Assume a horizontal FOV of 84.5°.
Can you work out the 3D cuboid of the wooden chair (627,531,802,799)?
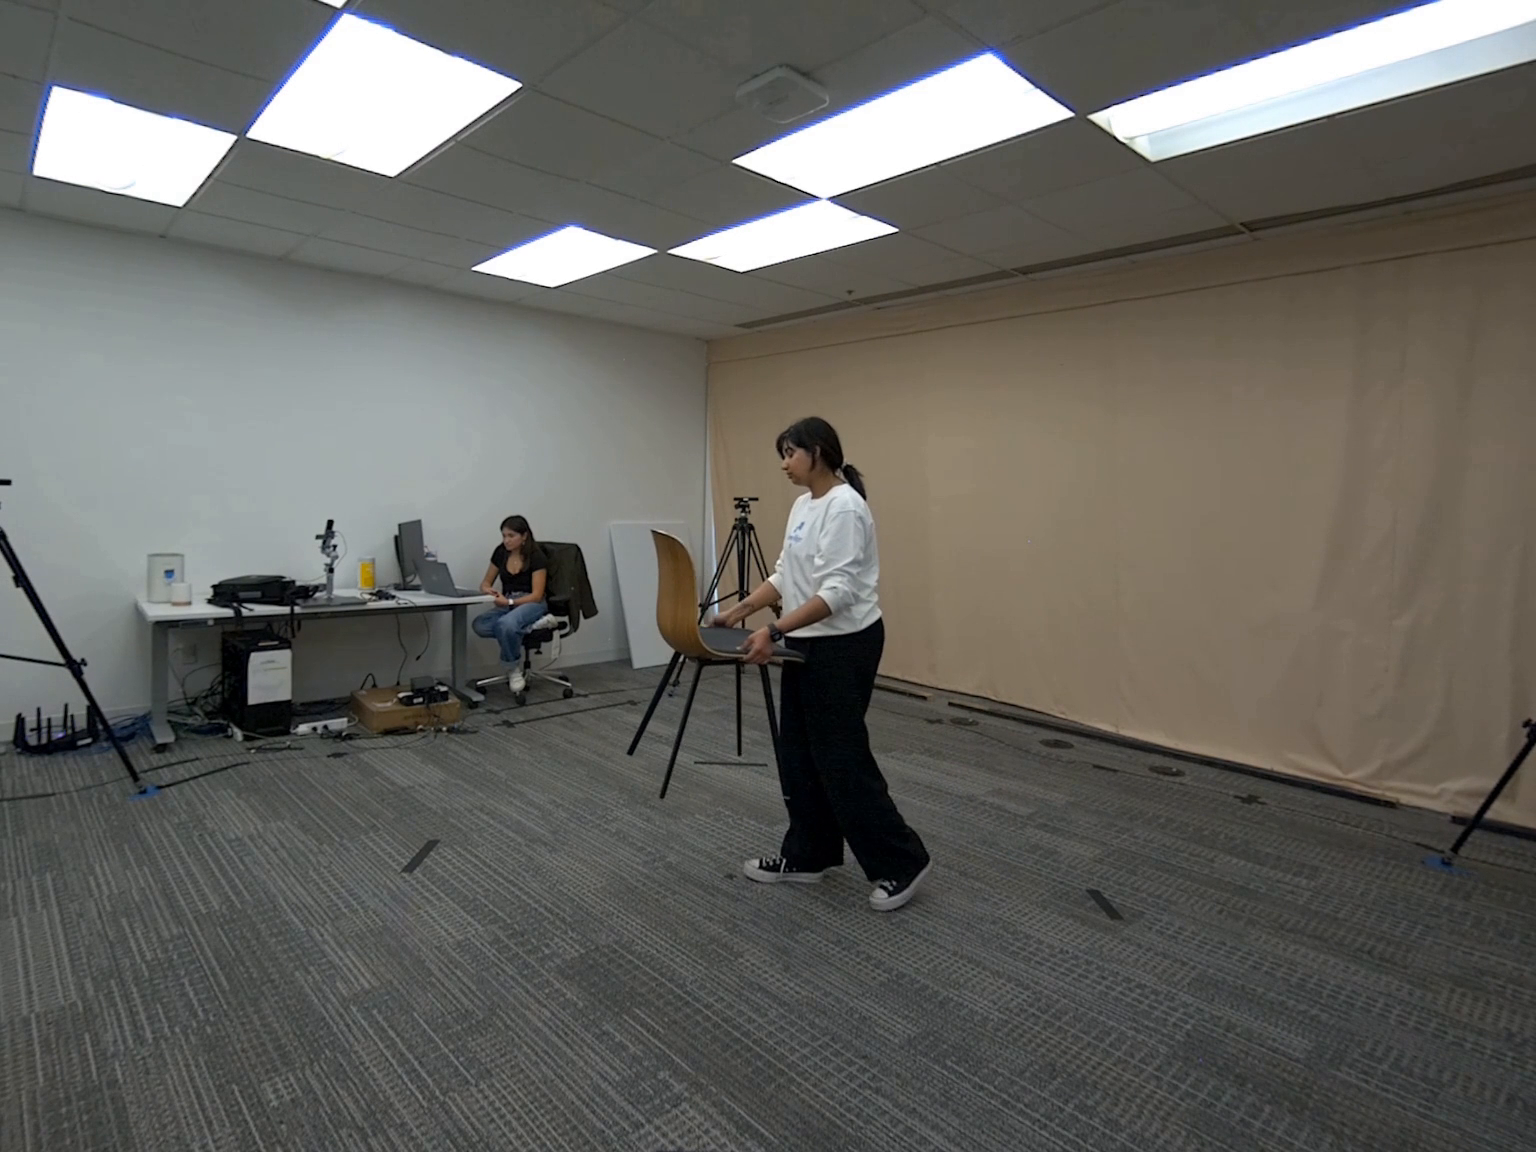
[{"bbox_3d":[-0.169,0.282,2.935,0.514,0.875,0.488,2,5,-22],"label":"wooden chair"}]
